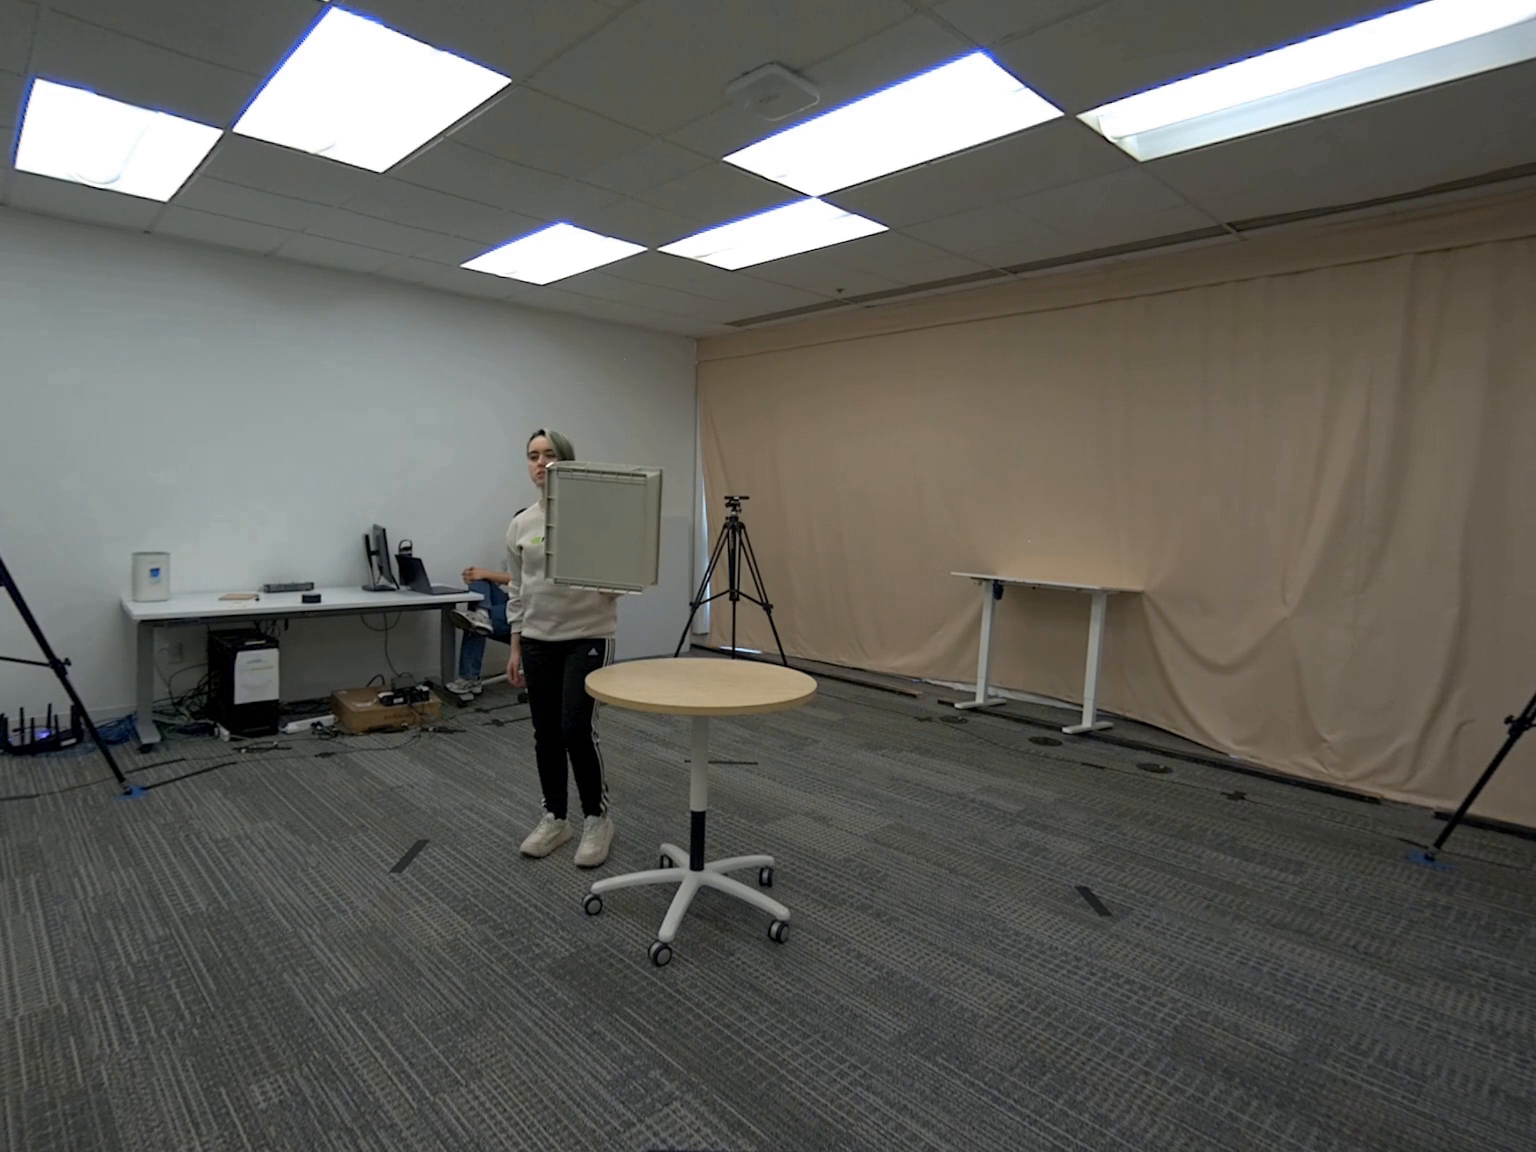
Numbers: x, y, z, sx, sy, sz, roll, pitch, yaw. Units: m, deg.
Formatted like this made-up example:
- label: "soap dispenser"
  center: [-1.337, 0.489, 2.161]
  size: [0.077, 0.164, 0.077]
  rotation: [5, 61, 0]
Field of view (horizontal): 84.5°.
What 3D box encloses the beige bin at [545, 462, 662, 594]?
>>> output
- label: "beige bin"
  center: [-0.573, -0.174, 2.915]
  size: [0.380, 0.420, 0.189]
  rotation: [5, 9, 8]
